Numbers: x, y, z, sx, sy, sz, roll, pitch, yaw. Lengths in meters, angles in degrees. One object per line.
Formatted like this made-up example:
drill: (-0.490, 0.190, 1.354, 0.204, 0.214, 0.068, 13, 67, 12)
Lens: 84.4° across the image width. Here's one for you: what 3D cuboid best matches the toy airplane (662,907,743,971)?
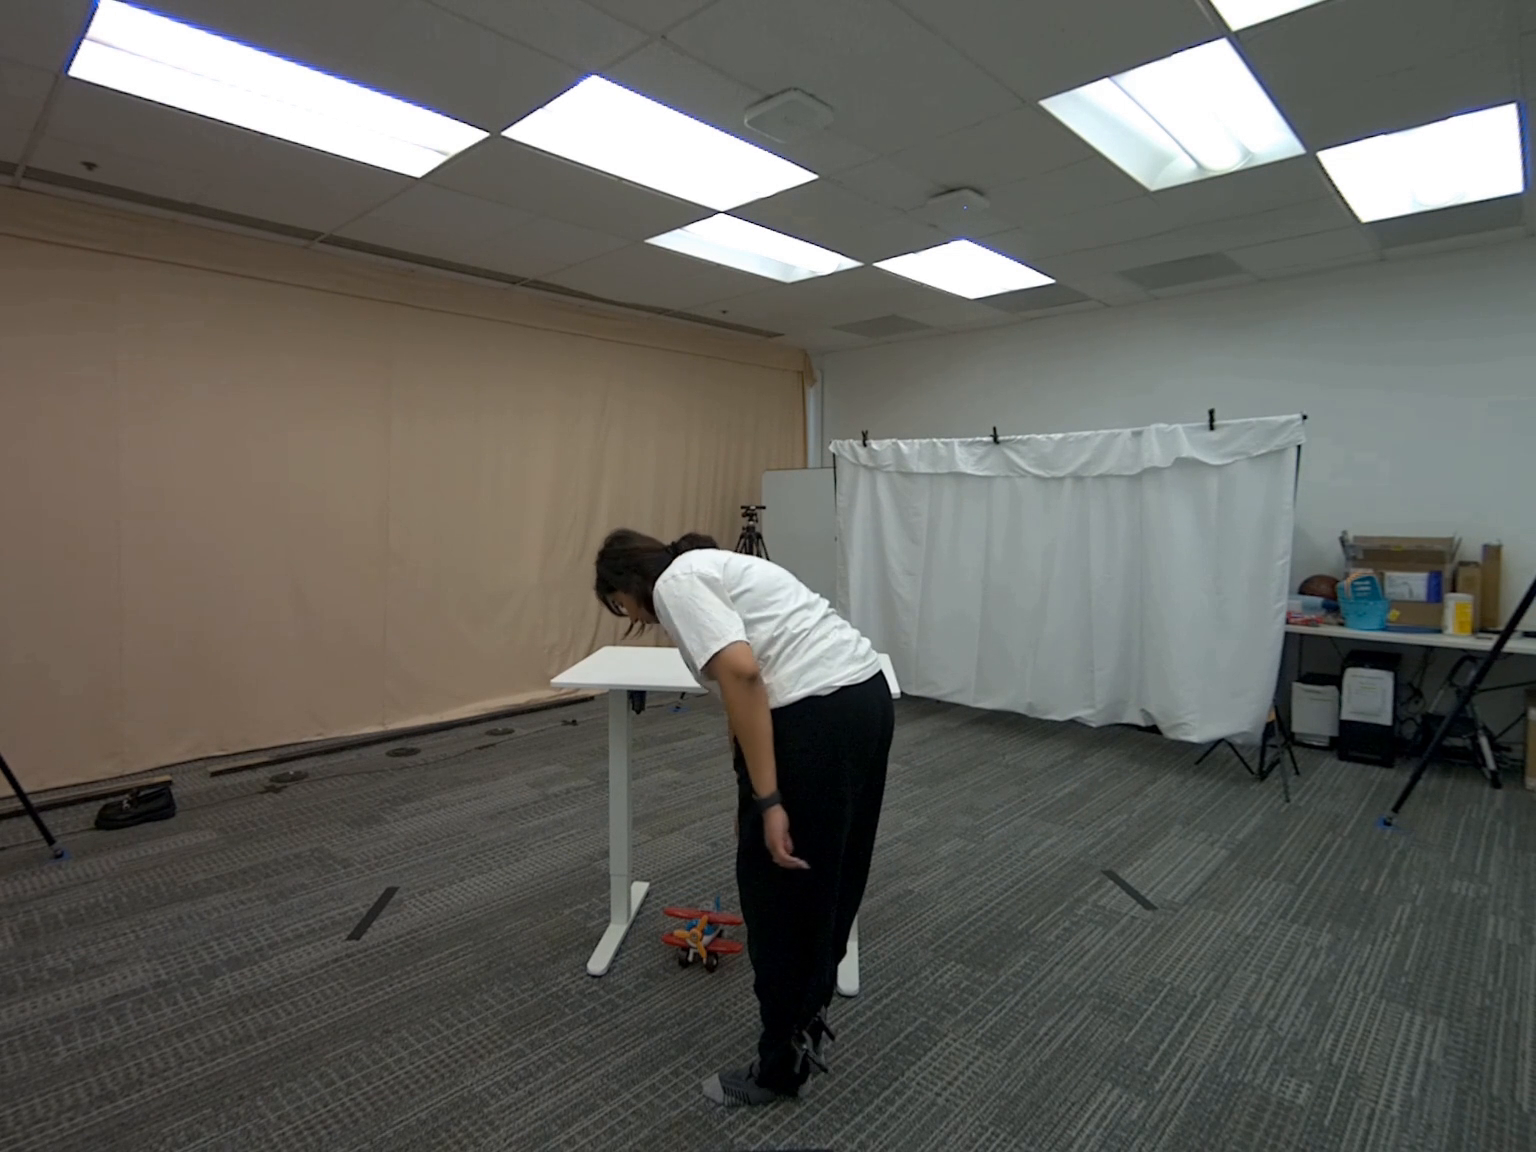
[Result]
toy airplane: (-0.205, 1.106, 2.610, 0.248, 0.156, 0.263, -1, 5, -13)
